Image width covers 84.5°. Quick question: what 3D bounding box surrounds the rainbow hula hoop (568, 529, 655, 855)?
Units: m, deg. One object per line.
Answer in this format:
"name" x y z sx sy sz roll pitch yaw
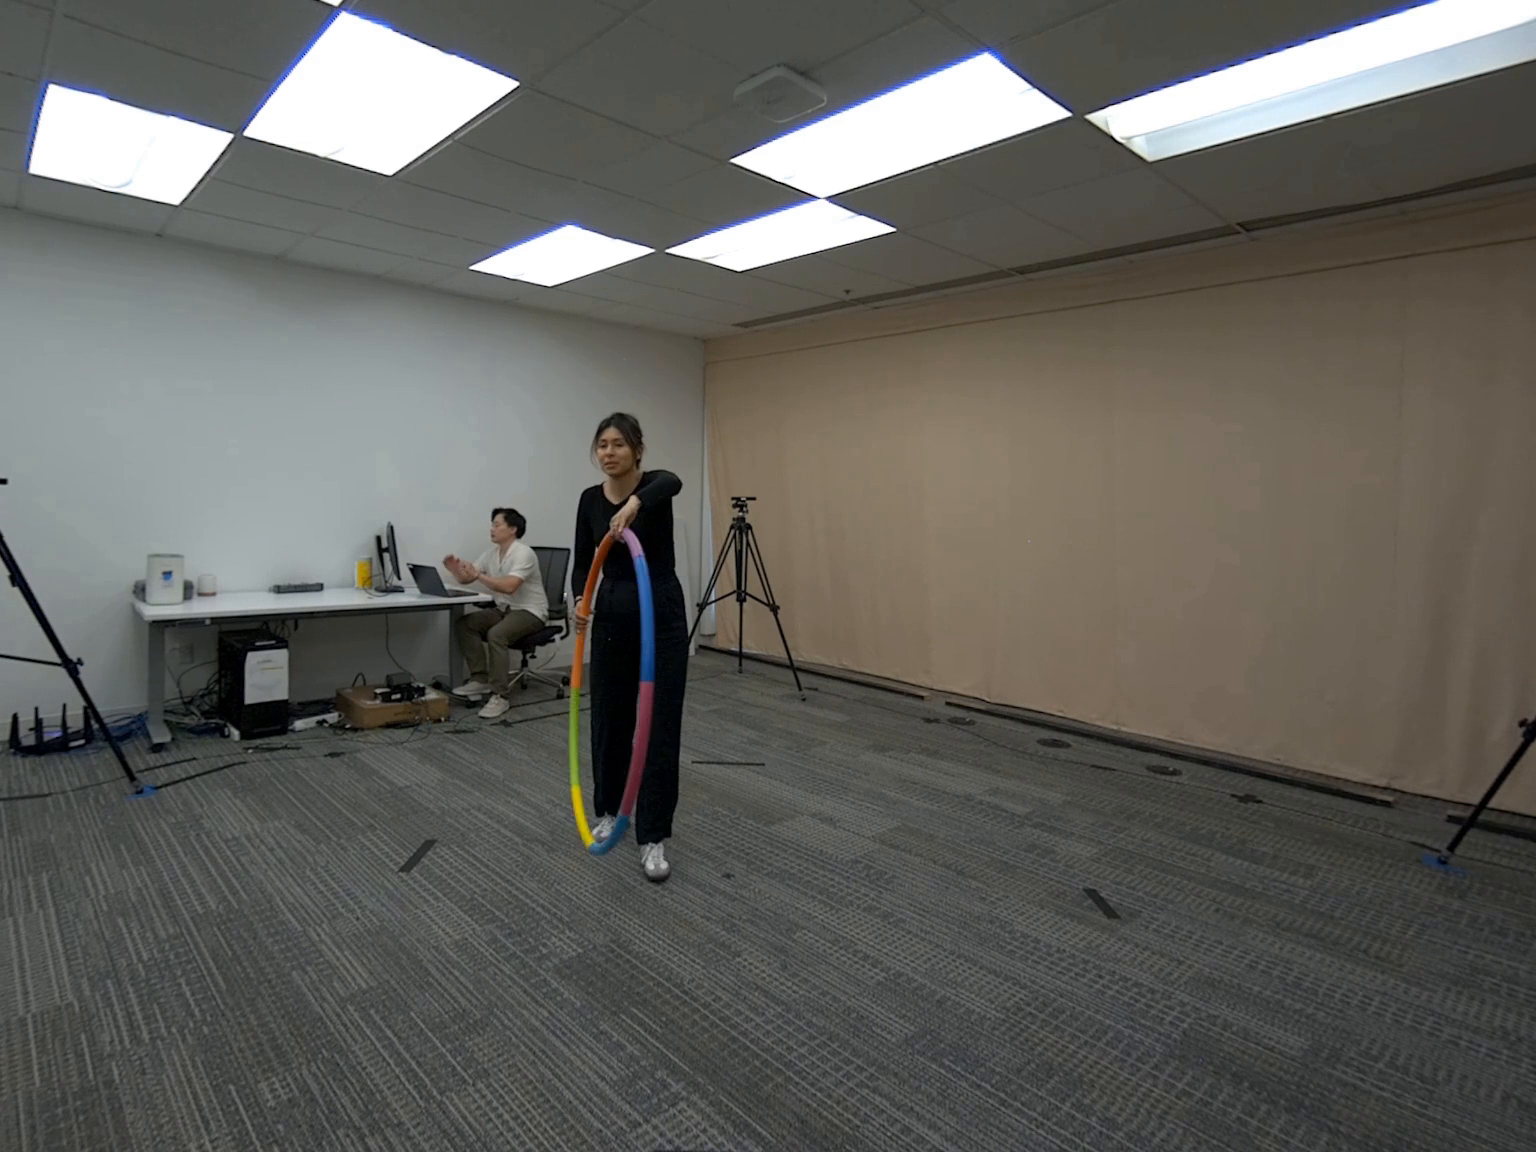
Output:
"rainbow hula hoop" -0.514 0.325 2.616 0.051 0.984 1.004 5 2 -23
